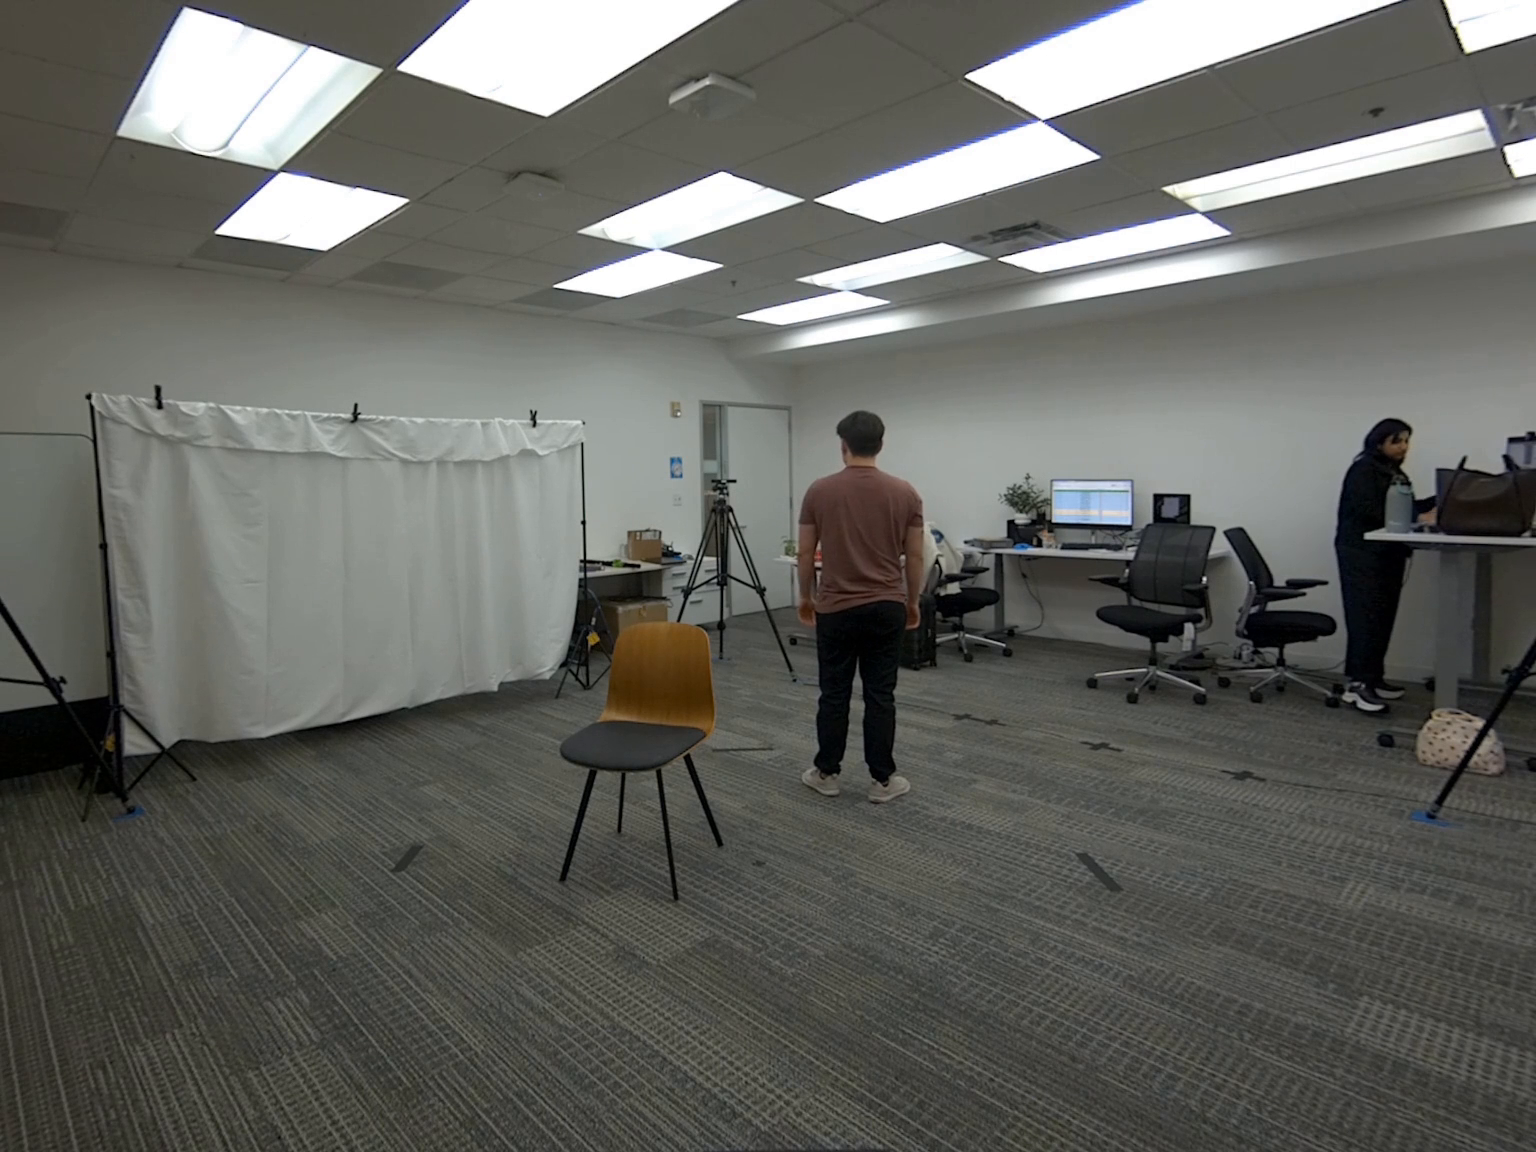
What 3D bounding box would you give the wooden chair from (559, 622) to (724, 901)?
[{"bbox_3d":[-0.455,0.630,3.089,0.487,0.877,0.513,1,0,19],"label":"wooden chair"}]
